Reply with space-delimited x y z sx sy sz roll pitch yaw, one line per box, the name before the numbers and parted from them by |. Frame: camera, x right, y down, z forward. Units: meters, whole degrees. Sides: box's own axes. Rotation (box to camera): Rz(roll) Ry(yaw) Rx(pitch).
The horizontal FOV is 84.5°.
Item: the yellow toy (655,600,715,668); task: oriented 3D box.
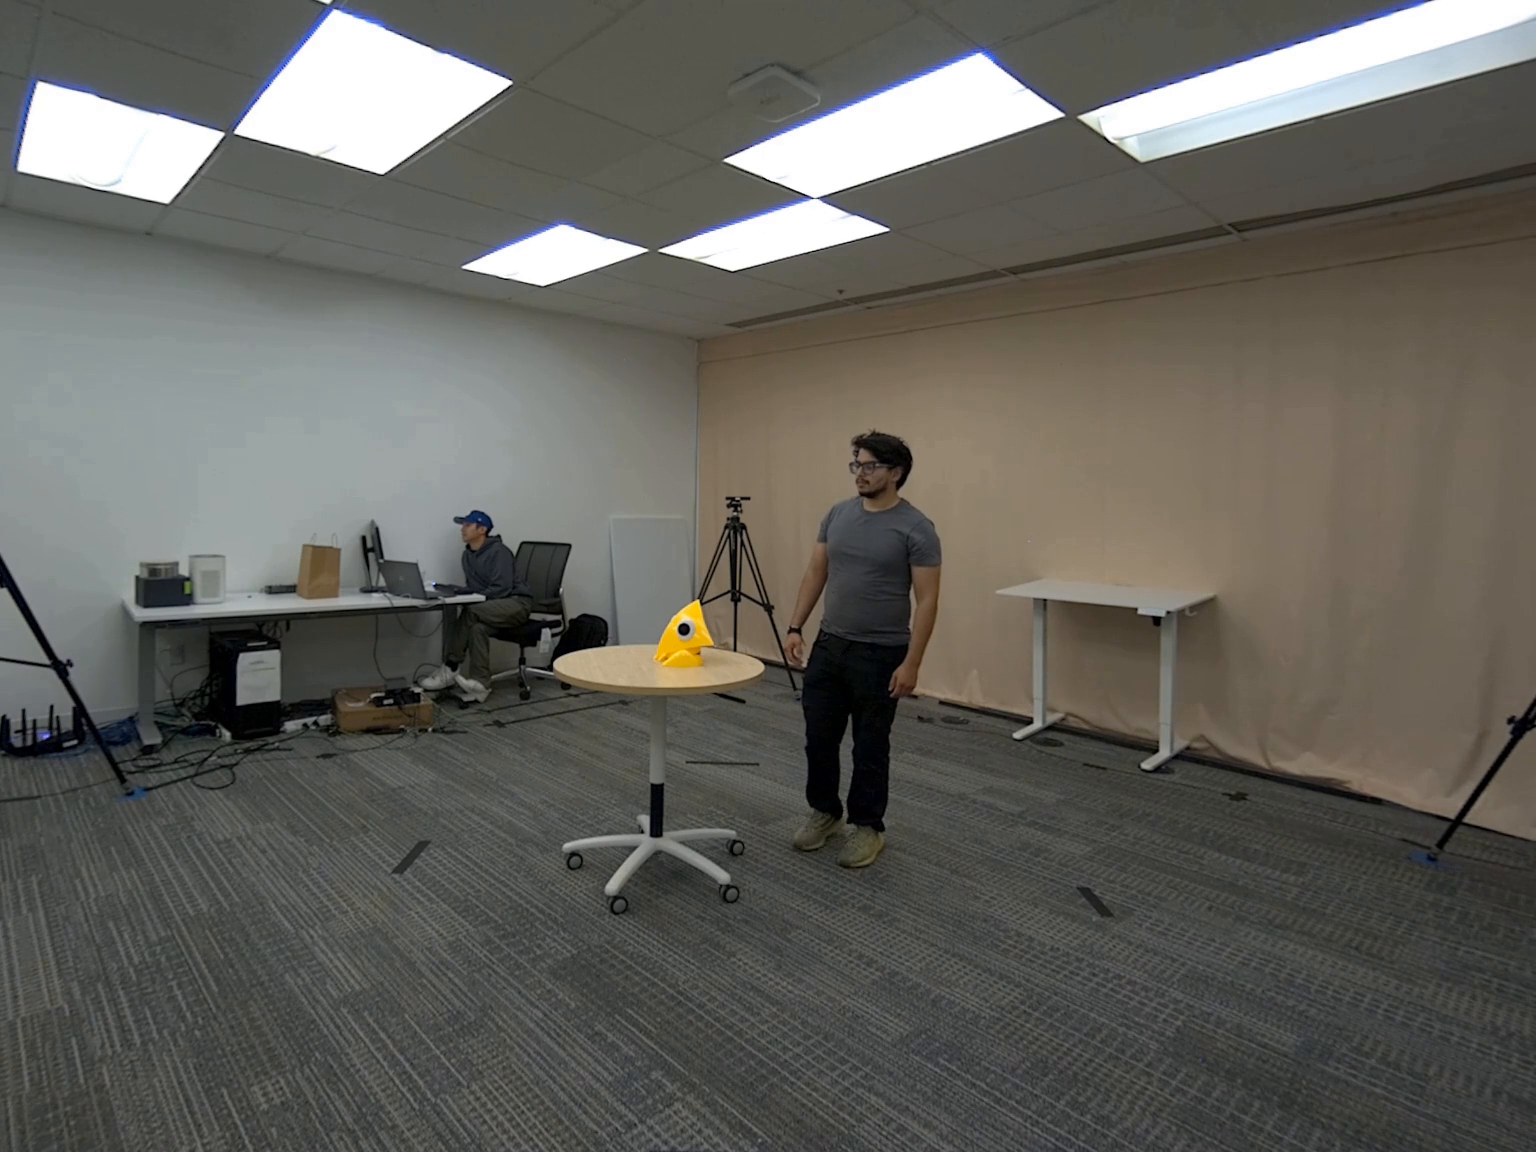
yellow toy | -0.320 0.205 3.118 0.190 0.230 0.208 0 4 -22
